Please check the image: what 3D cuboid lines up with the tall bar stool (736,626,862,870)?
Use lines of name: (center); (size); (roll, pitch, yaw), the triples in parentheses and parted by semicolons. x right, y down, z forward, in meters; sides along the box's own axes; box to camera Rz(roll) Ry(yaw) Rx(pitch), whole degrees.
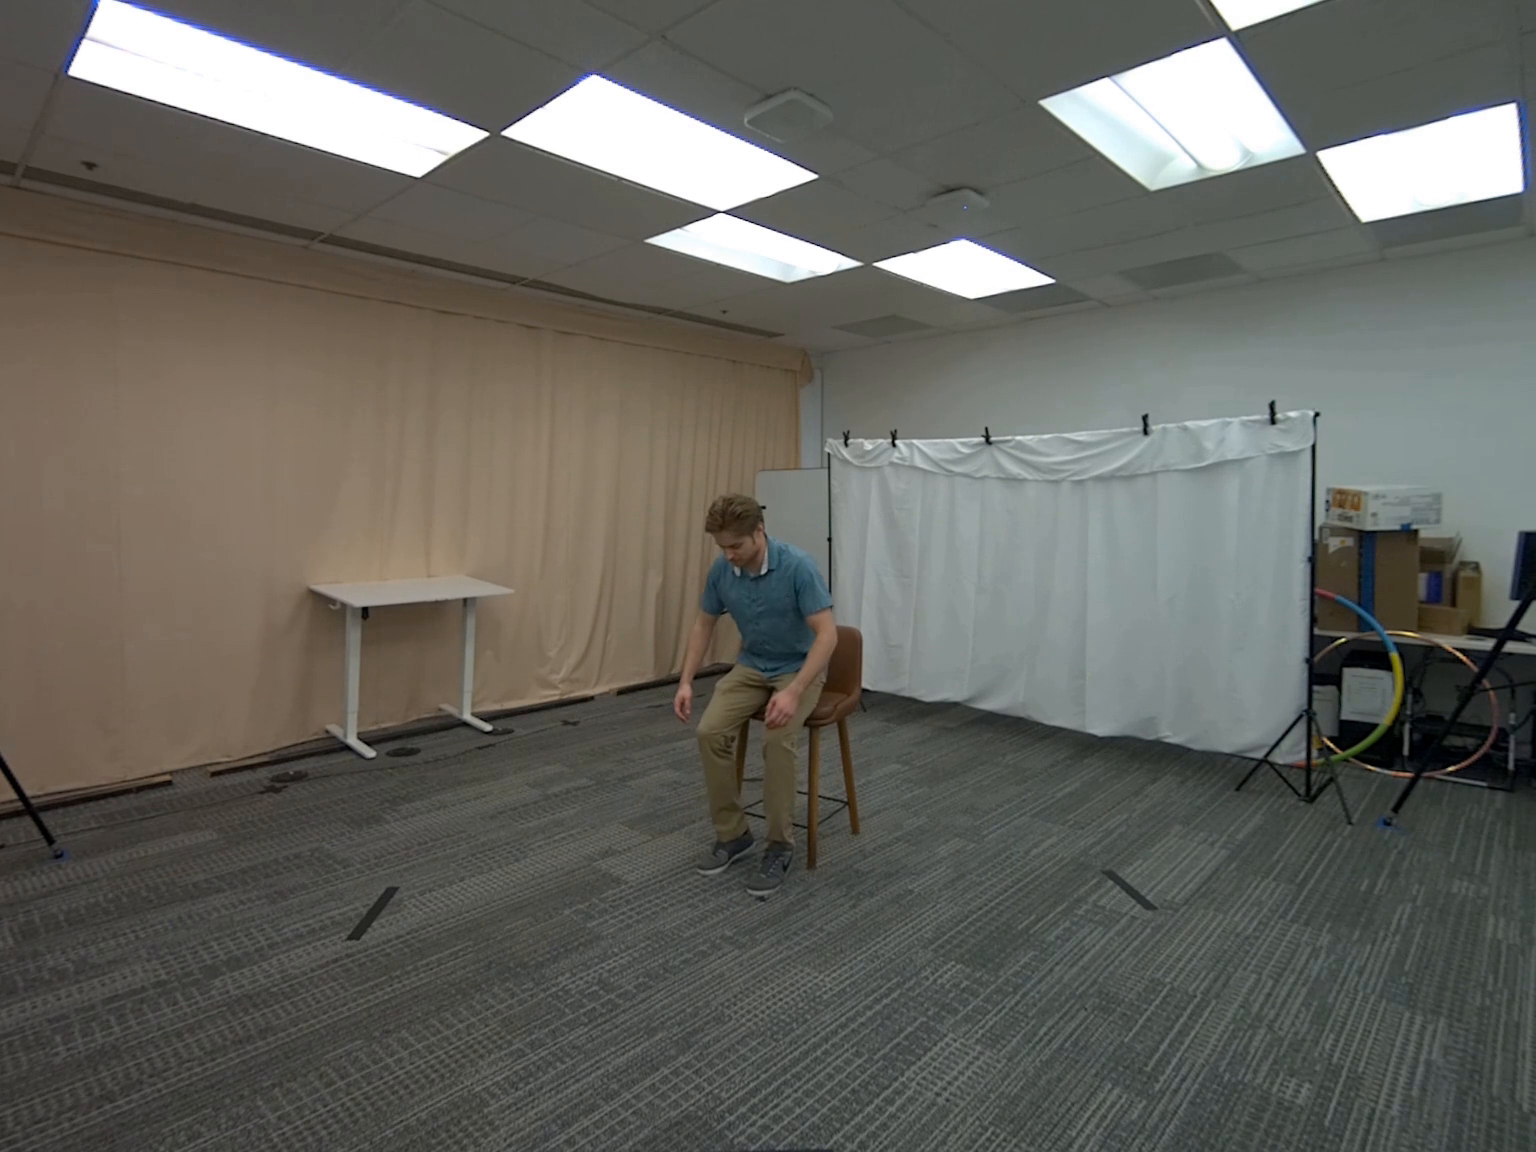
tall bar stool: (0.125, 0.663, 3.492); (0.470, 0.889, 0.454); (2, 2, 33)
